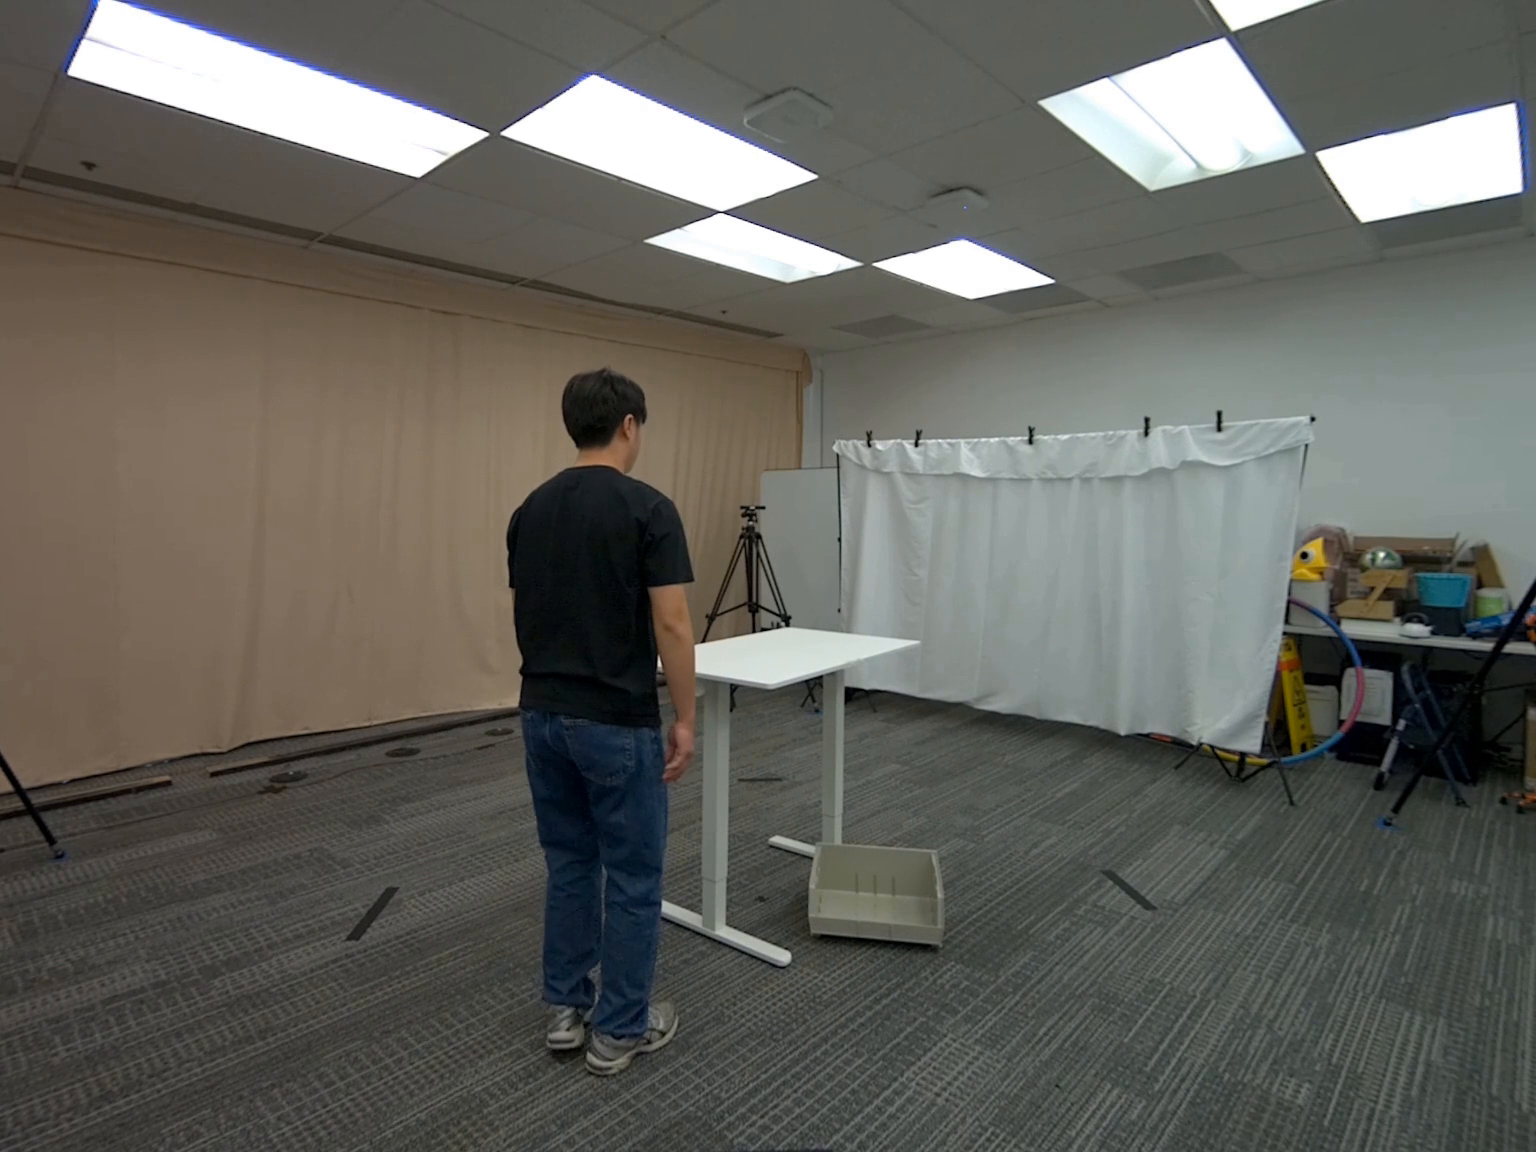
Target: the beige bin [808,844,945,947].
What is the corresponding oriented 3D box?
[{"bbox_3d":[0.365,1.070,2.815,0.427,0.188,0.374,1,4,10],"label":"beige bin"}]
